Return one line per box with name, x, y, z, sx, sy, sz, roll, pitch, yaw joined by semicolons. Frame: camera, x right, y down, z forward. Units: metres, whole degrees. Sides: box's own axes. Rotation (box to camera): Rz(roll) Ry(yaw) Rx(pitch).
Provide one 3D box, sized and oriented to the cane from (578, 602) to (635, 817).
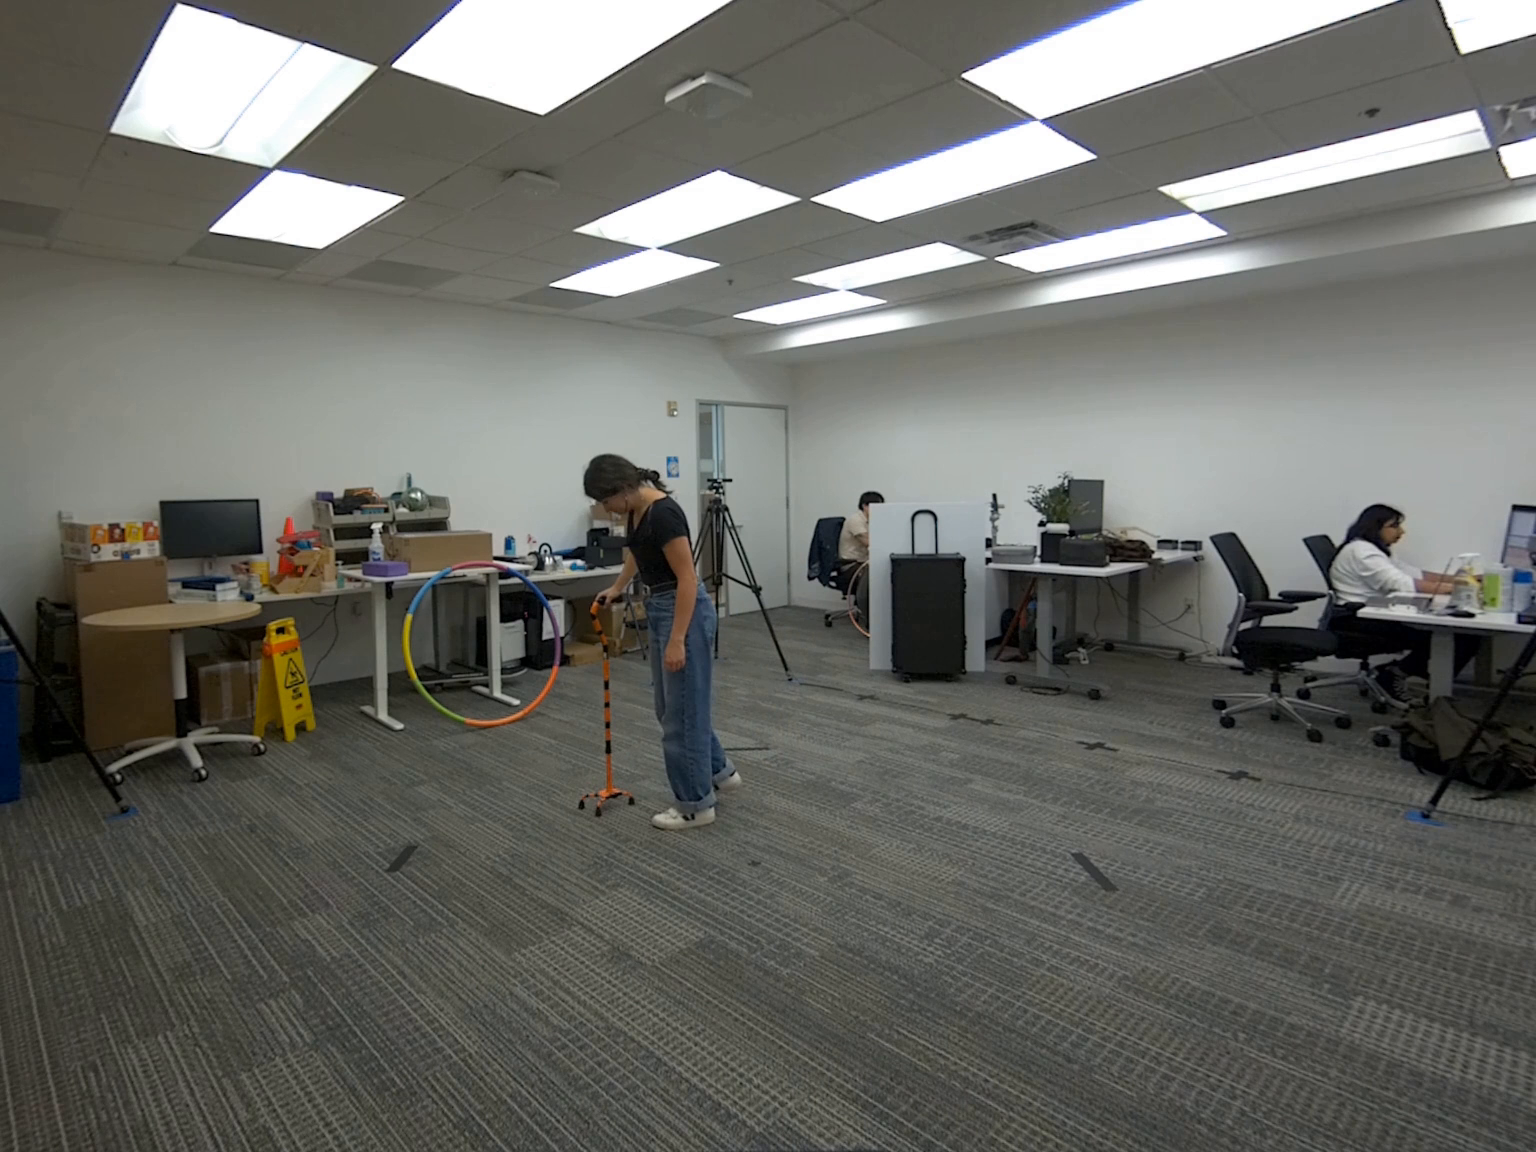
cane;-0.702;0.544;3.669;0.156;0.904;0.201;3;5;44
